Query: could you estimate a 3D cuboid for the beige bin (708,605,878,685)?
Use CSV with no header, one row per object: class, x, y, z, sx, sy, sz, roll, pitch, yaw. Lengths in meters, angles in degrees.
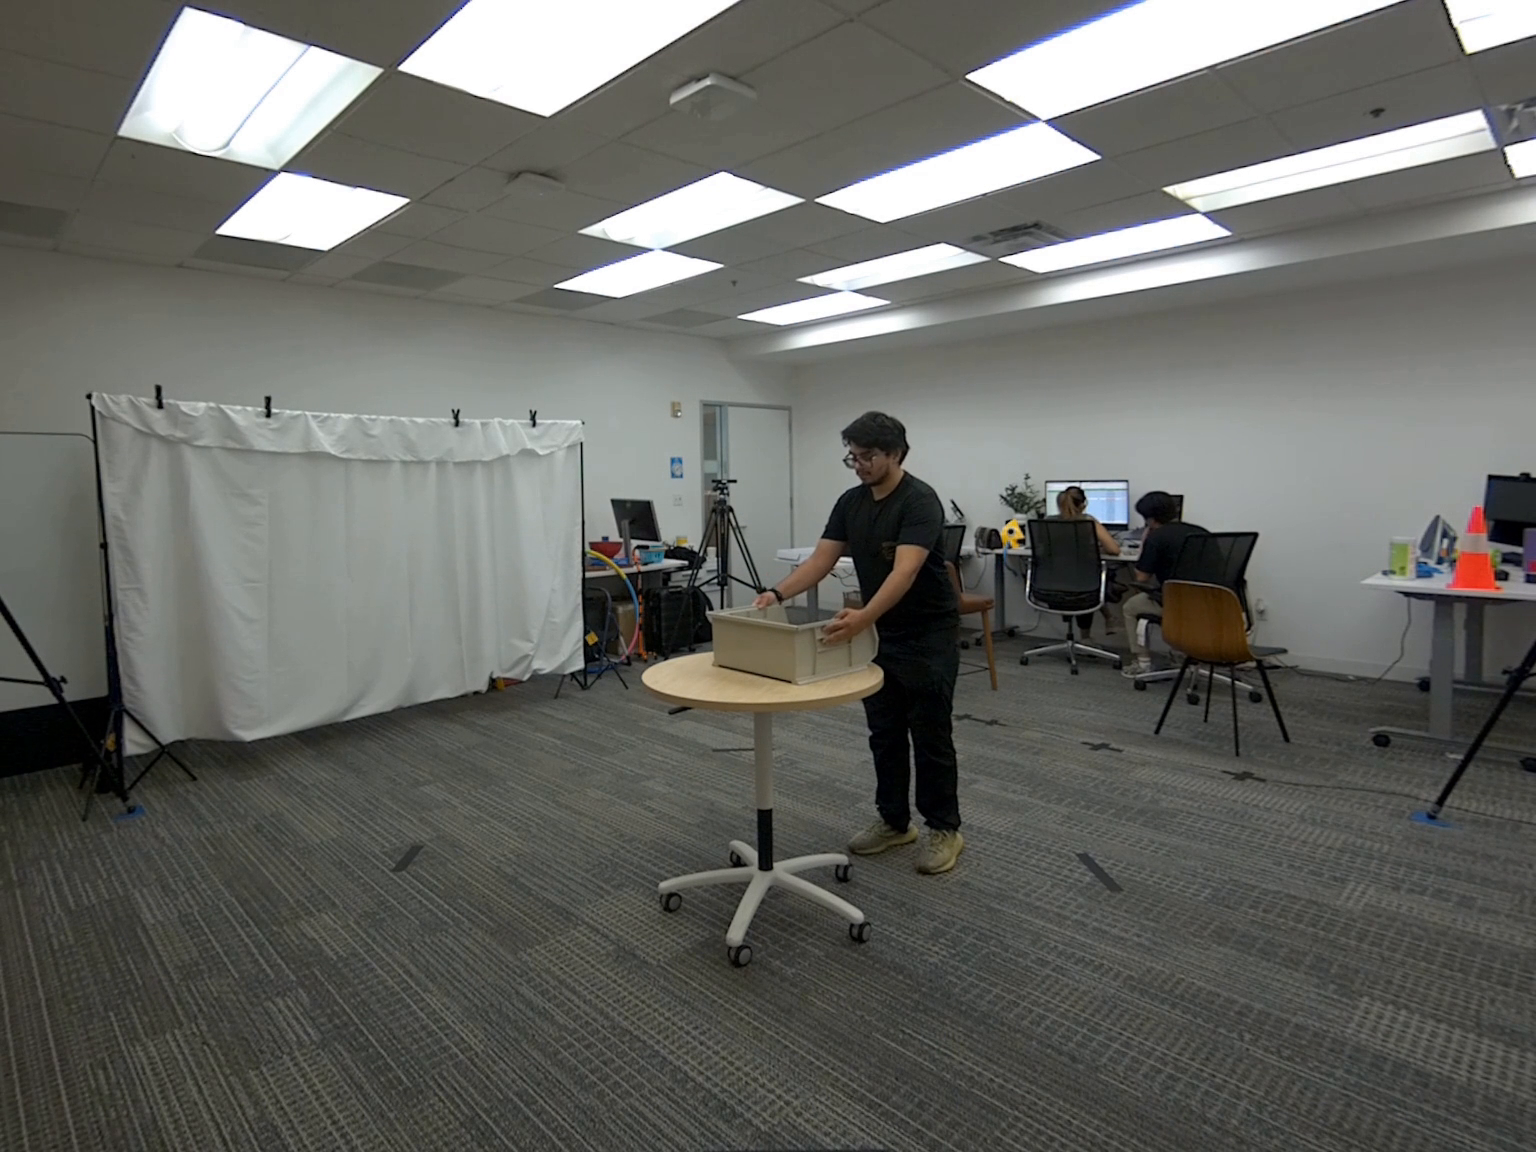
beige bin,0.076,0.211,2.789,0.368,0.188,0.435,-9,10,-41
